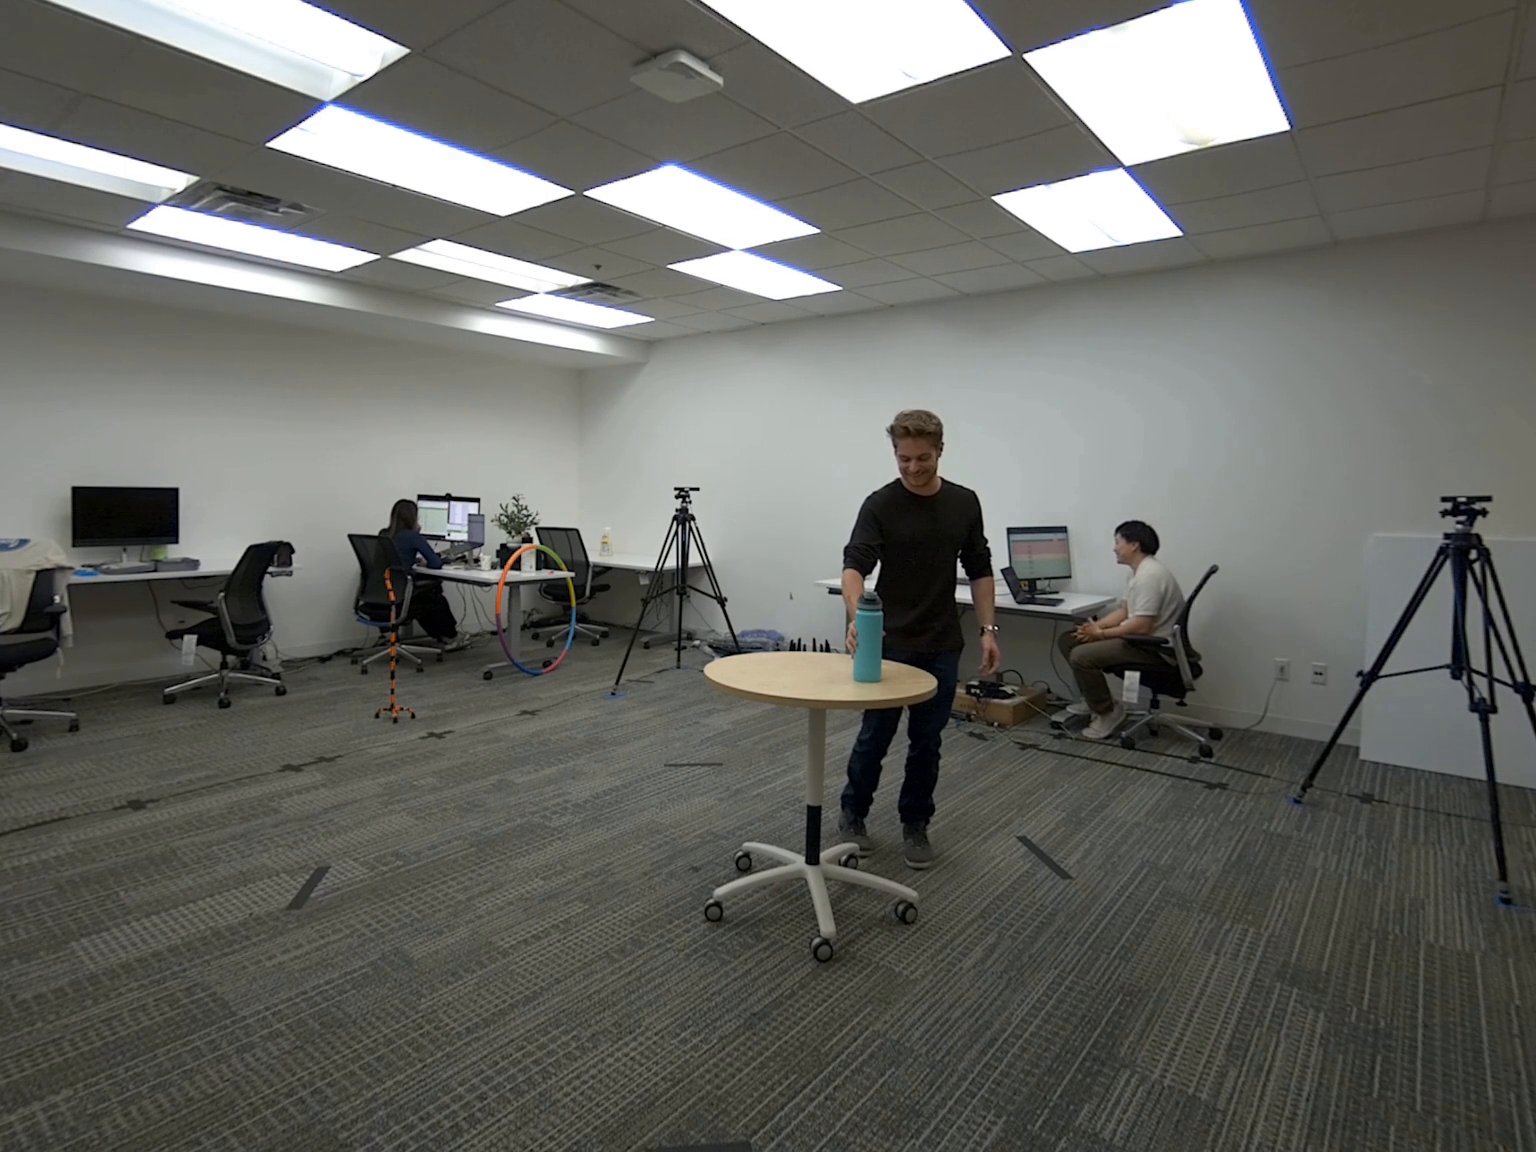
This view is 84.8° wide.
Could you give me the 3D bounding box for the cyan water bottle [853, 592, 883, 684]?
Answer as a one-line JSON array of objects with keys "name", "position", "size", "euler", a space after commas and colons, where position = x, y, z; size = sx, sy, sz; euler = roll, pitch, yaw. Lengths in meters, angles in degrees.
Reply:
[{"name": "cyan water bottle", "position": [0.313, 0.190, 2.725], "size": [0.092, 0.283, 0.092], "euler": [0, 2, -2]}]
